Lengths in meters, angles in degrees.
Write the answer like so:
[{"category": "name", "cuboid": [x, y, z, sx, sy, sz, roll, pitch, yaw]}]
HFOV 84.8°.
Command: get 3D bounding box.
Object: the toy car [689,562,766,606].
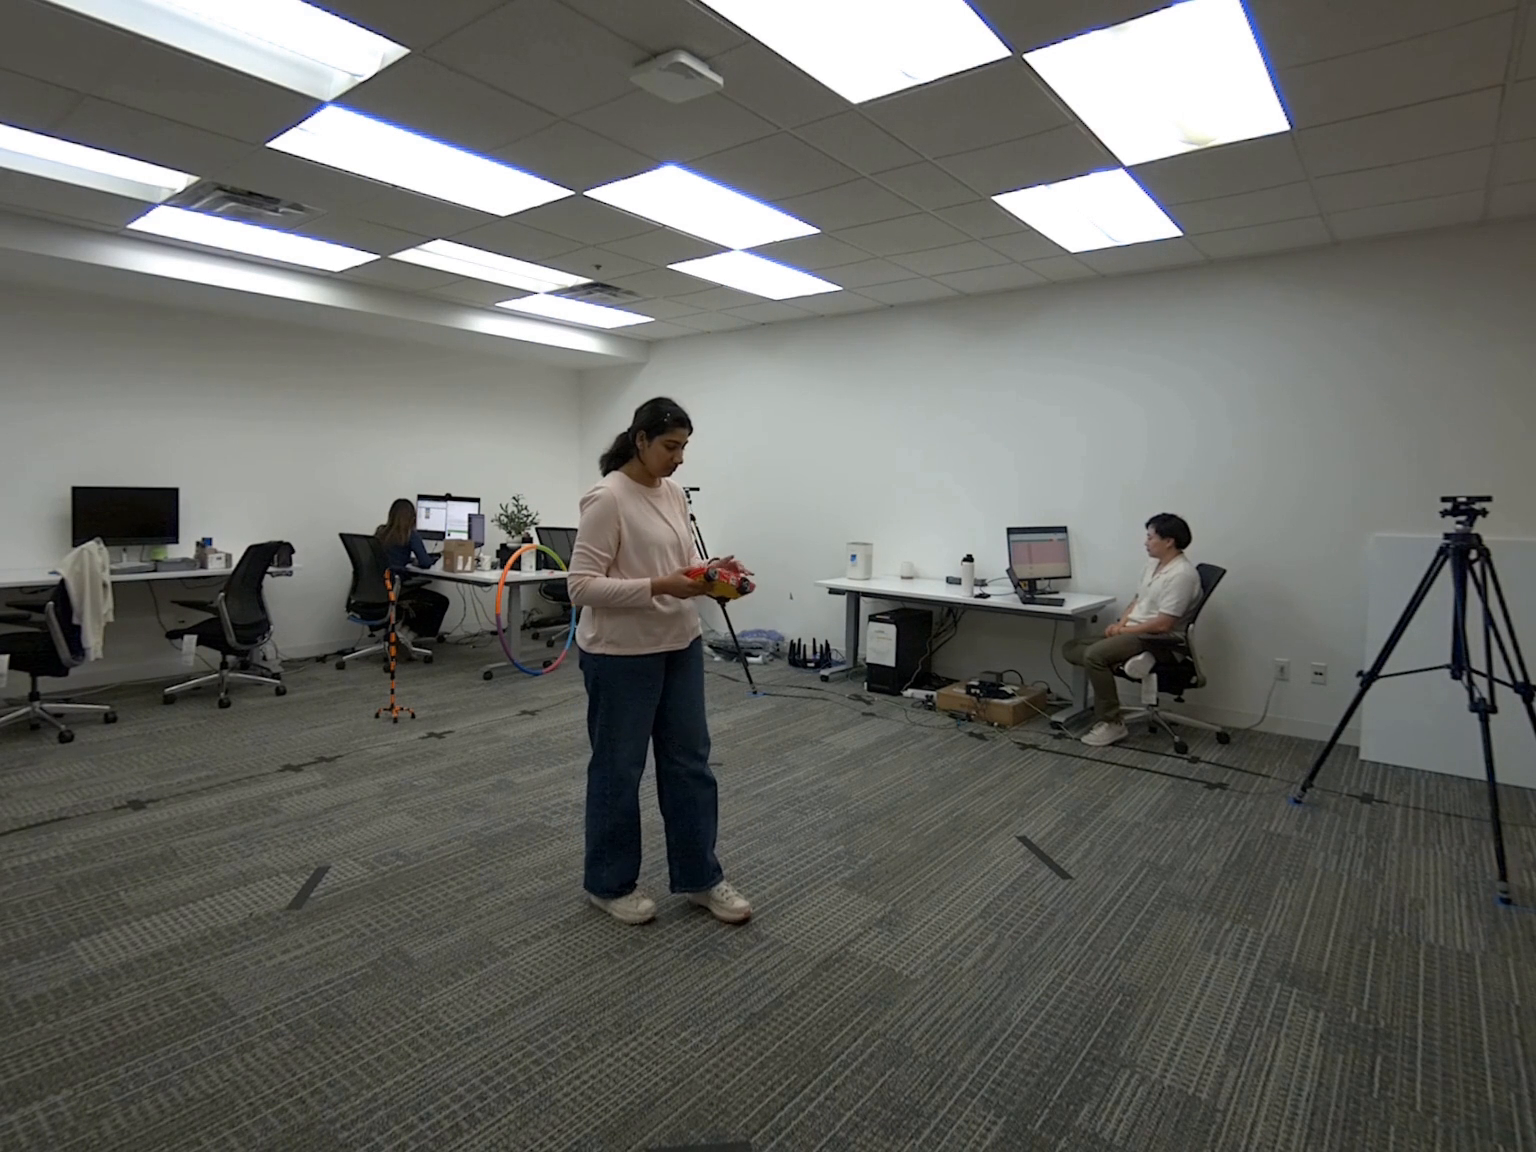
[{"category": "toy car", "cuboid": [-0.149, 0.027, 2.624, 0.132, 0.085, 0.246, -30, -20, 35]}]
